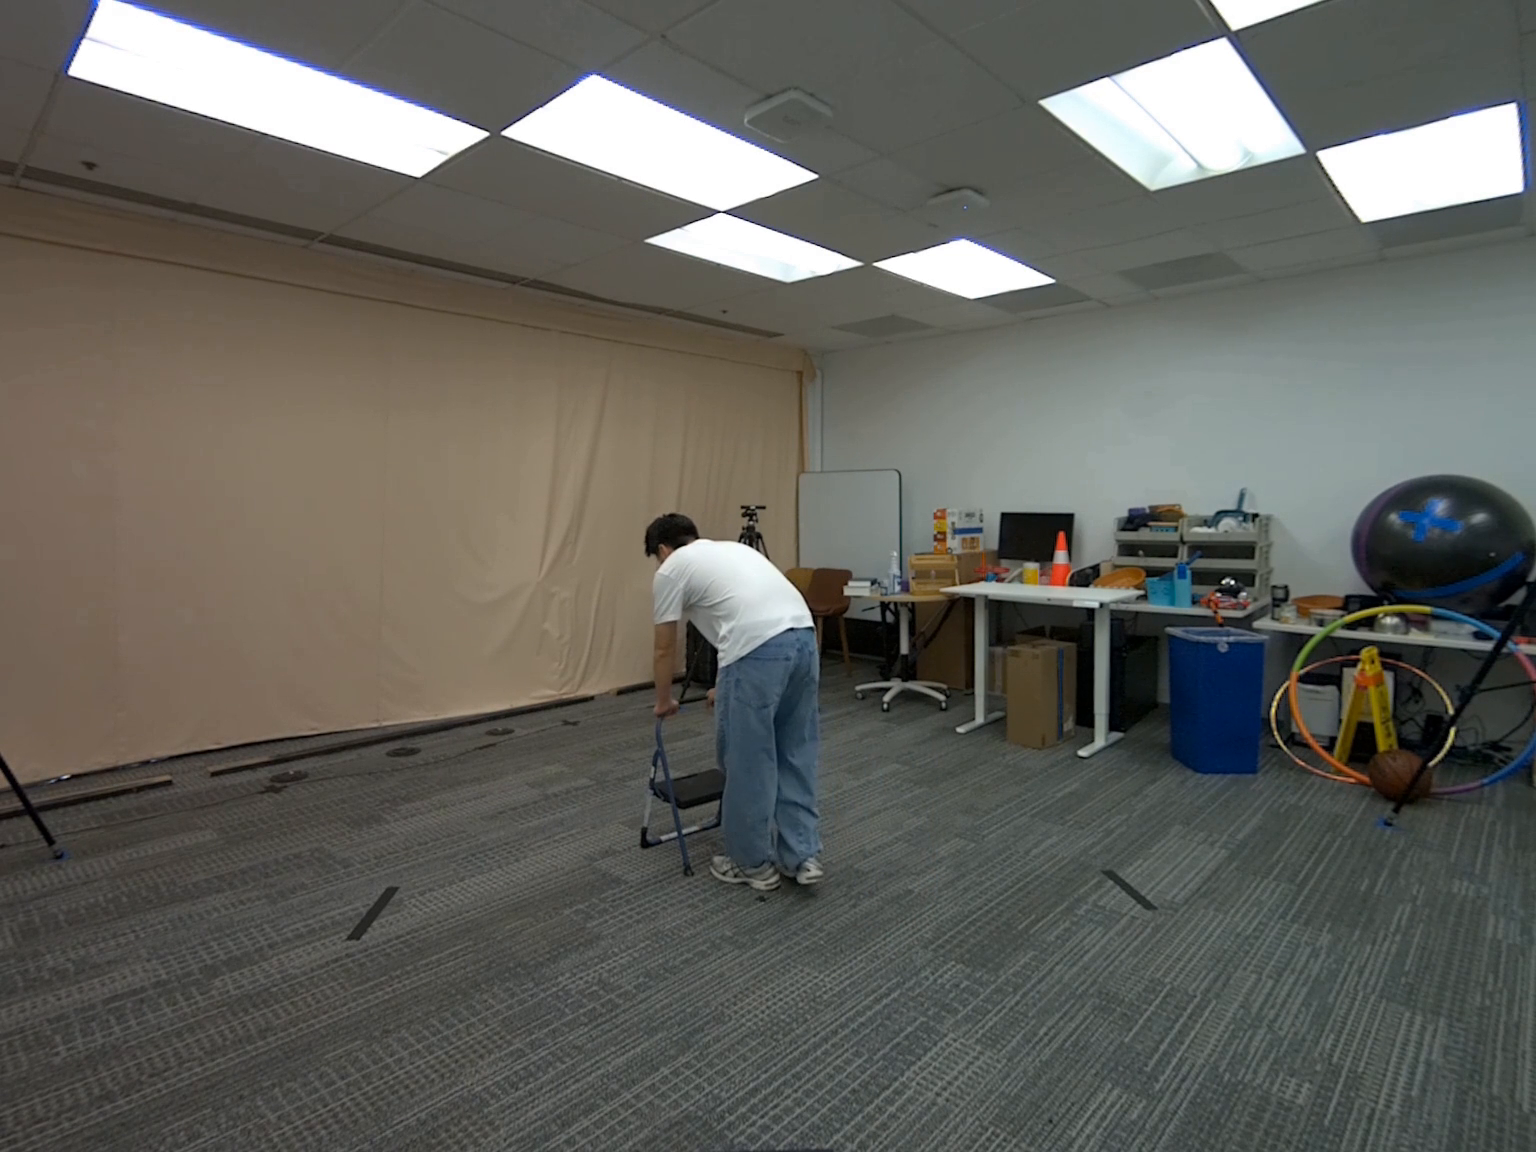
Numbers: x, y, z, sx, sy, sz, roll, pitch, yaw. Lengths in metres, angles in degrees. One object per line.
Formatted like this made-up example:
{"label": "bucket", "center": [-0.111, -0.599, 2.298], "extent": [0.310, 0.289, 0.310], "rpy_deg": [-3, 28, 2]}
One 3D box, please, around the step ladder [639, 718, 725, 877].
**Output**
{"label": "step ladder", "center": [-0.260, 0.804, 3.419], "extent": [0.417, 0.605, 0.361], "rpy_deg": [-3, 4, -40]}
